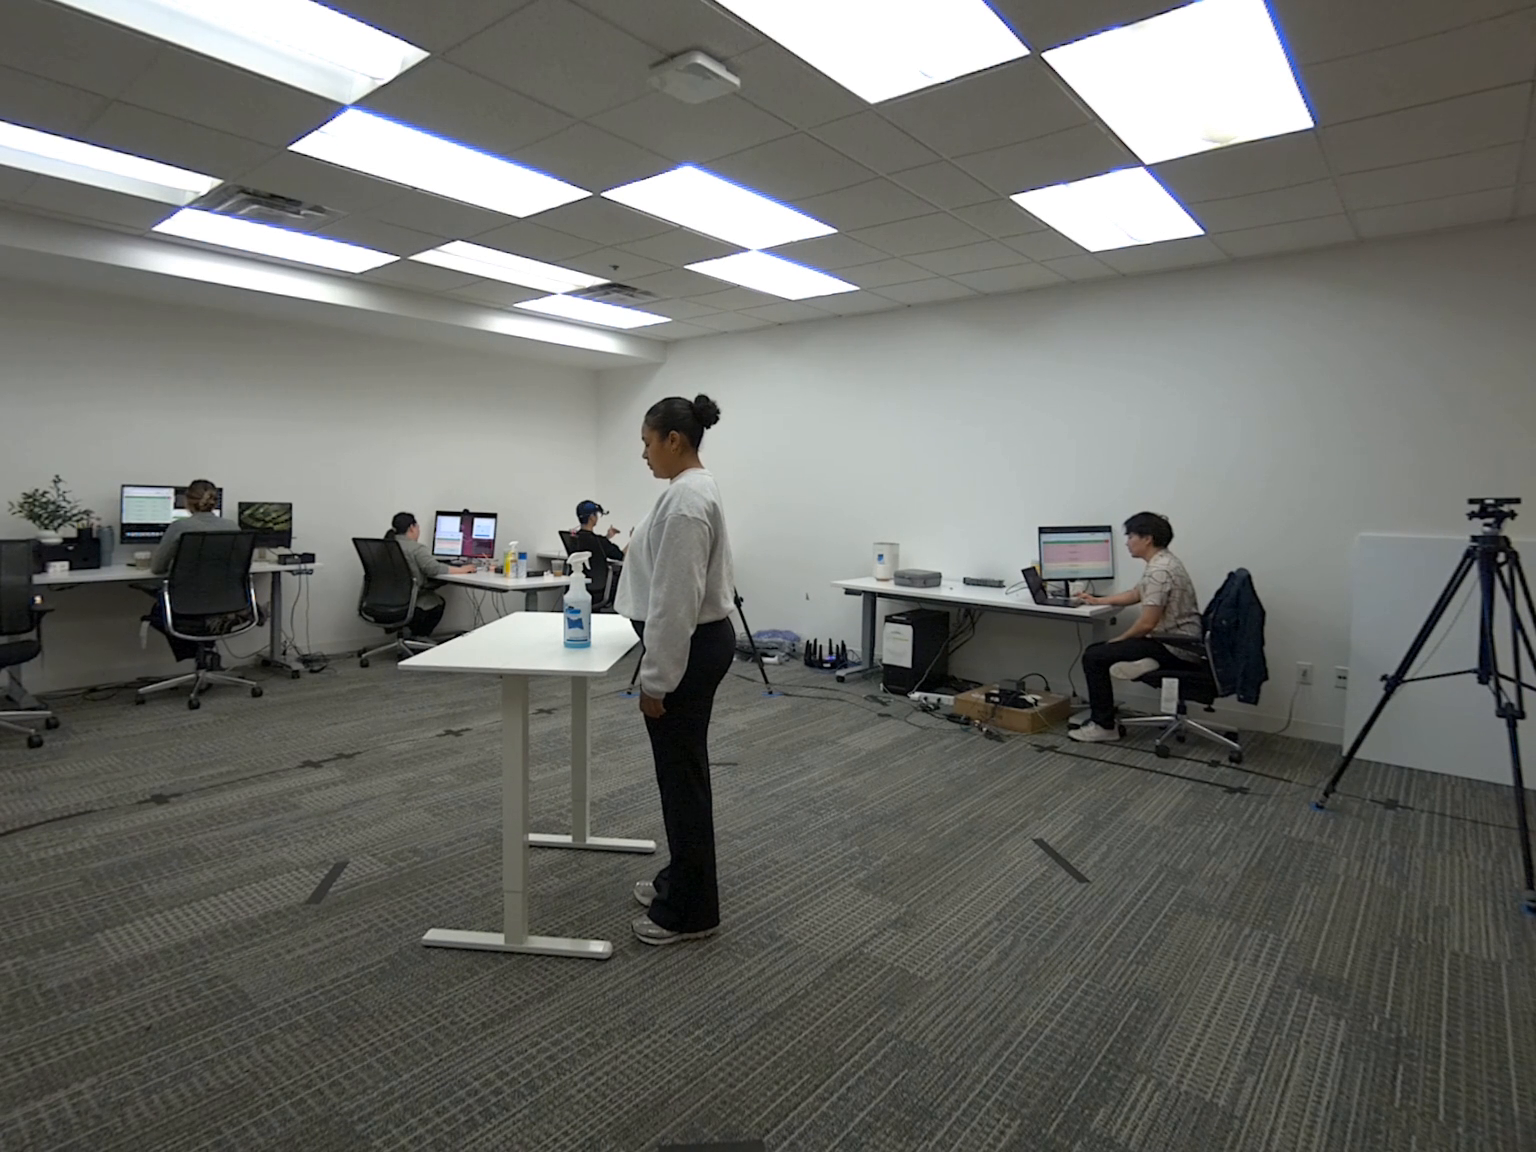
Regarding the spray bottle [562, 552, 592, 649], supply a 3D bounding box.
[{"bbox_3d":[-0.613,0.074,2.687,0.088,0.296,0.089,0,3,-24],"label":"spray bottle"}]
